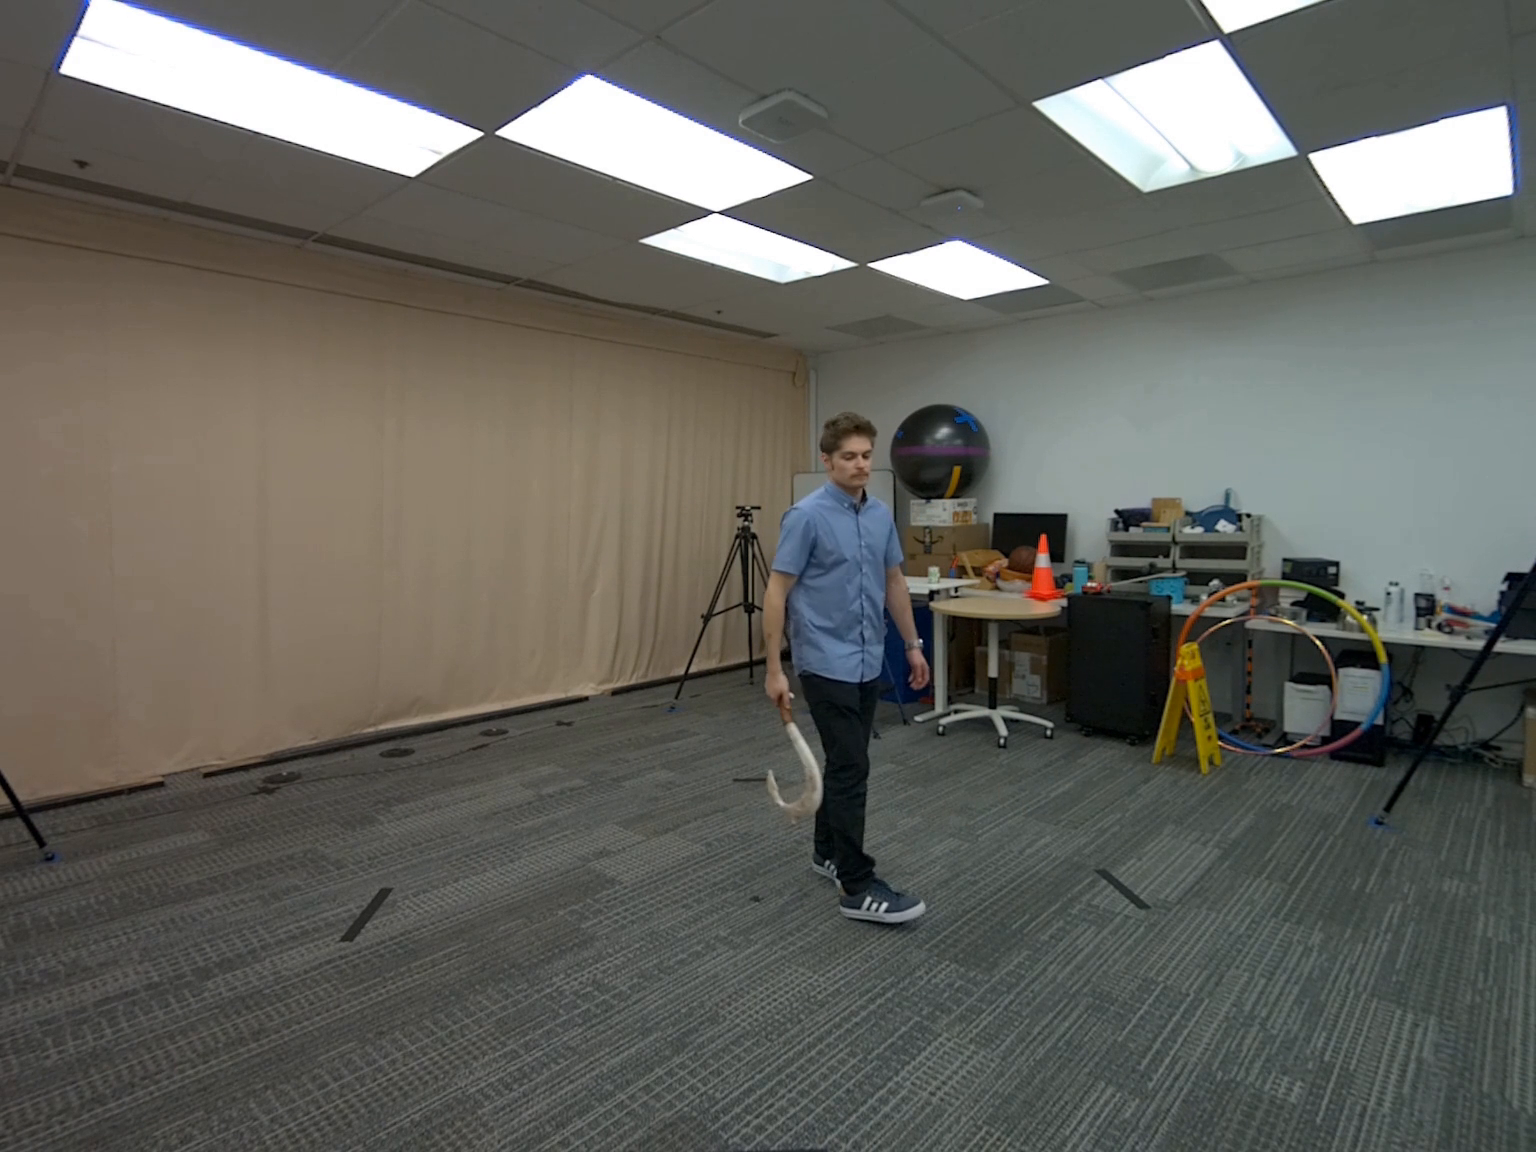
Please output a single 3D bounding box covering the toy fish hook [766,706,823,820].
[{"bbox_3d":[0.066,0.568,2.838,0.227,0.518,0.046,-35,-38,30],"label":"toy fish hook"}]
